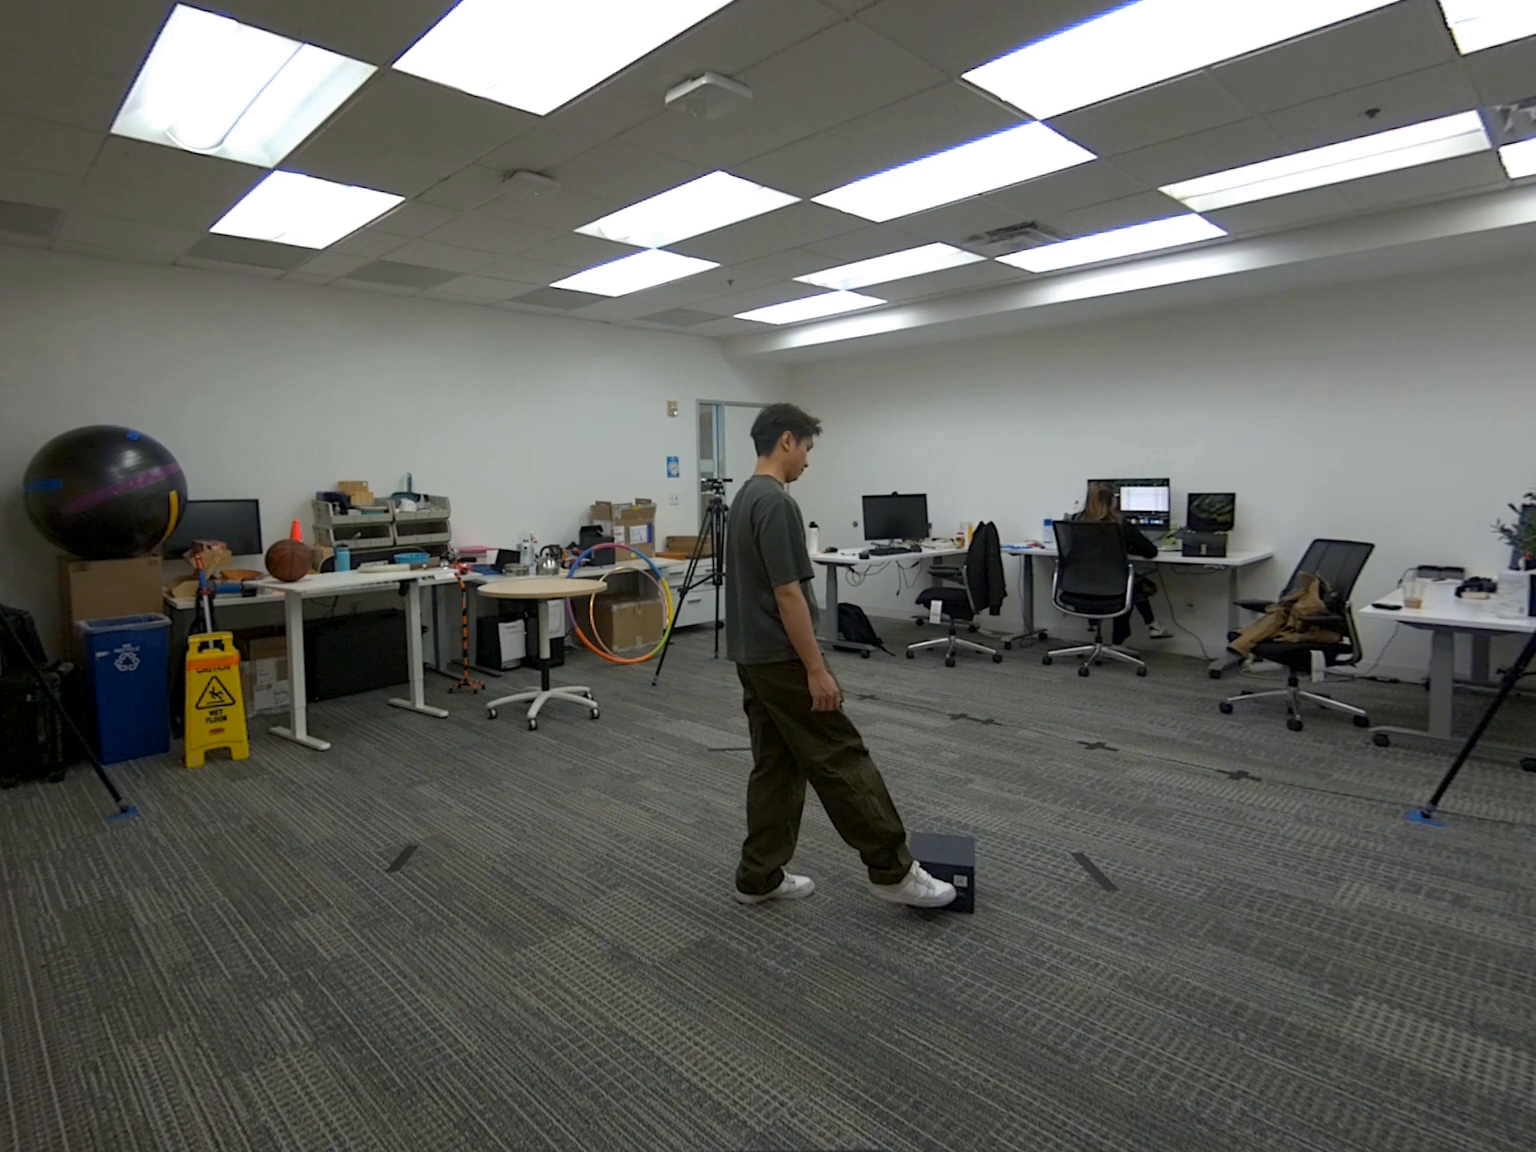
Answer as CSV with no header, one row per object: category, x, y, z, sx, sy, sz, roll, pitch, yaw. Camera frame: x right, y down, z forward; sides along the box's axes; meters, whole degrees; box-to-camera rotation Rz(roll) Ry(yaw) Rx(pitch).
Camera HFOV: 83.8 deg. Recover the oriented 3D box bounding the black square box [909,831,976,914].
black square box,0.582,0.978,2.854,0.220,0.155,0.225,1,6,15
